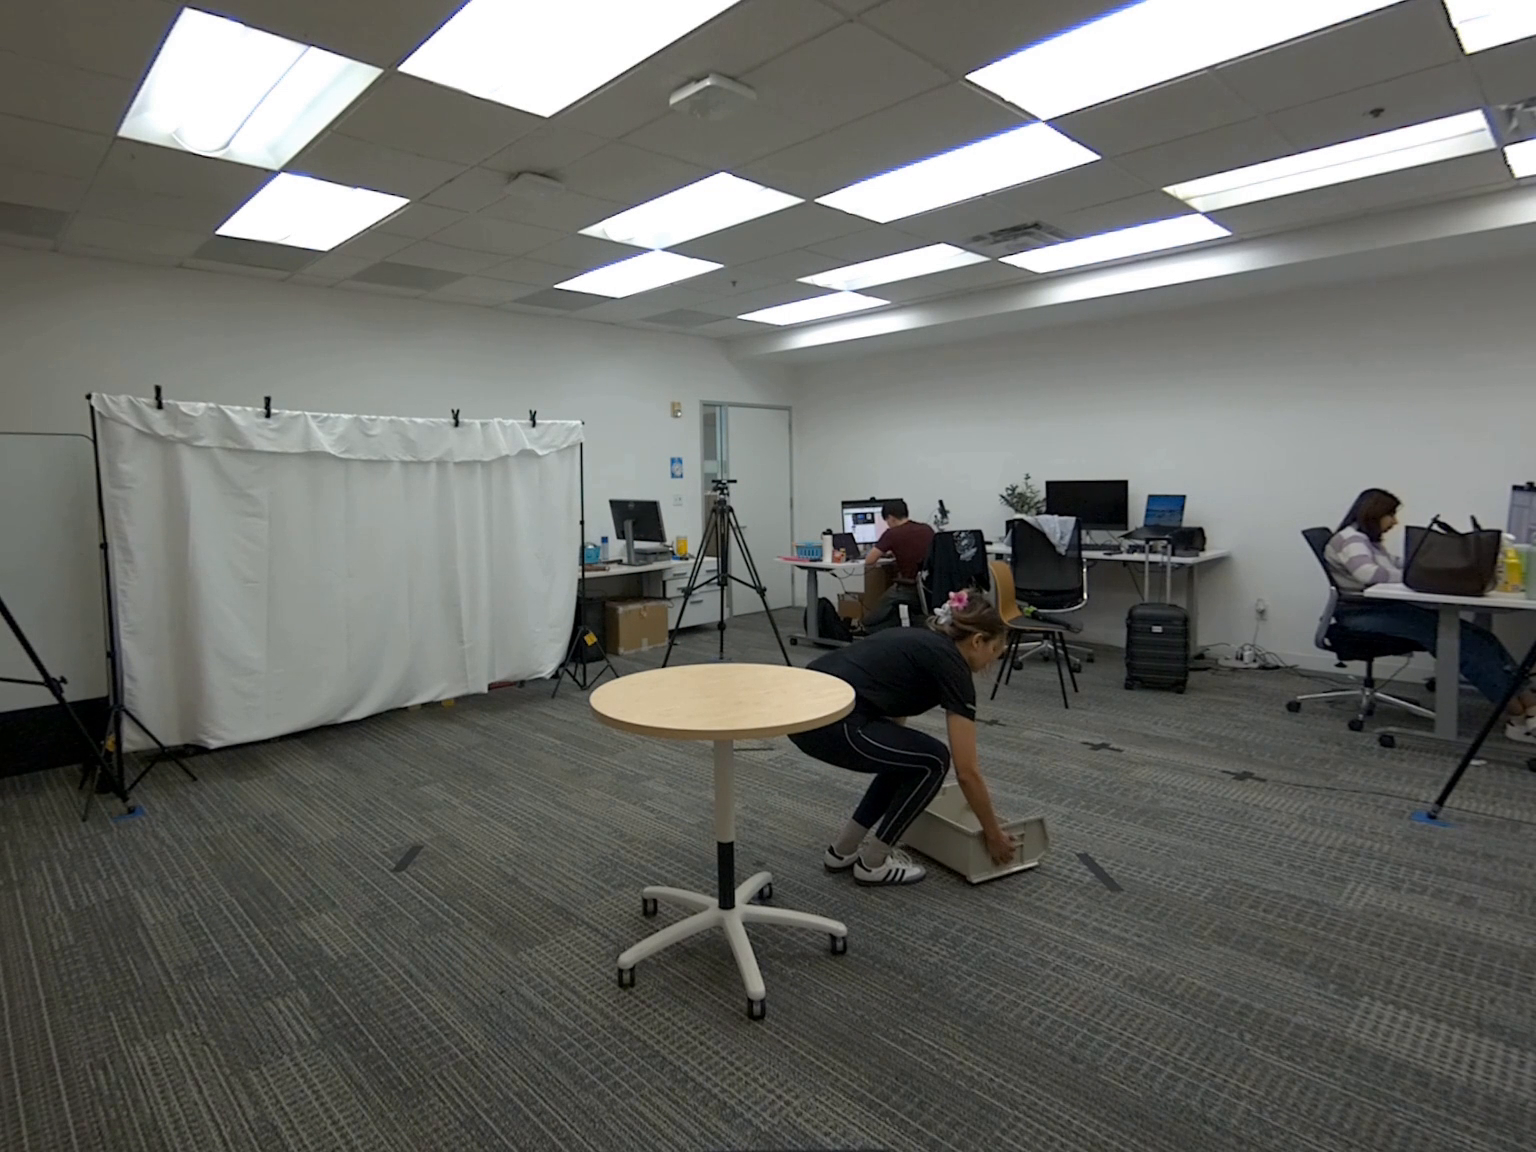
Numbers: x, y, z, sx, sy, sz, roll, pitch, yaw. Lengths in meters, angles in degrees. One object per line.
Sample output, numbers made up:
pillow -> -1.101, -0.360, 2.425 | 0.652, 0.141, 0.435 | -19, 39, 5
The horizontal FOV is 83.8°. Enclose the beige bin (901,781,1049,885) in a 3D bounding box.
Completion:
beige bin -> 0.743, 0.915, 3.138 | 0.368, 0.188, 0.434 | -4, 6, -30
